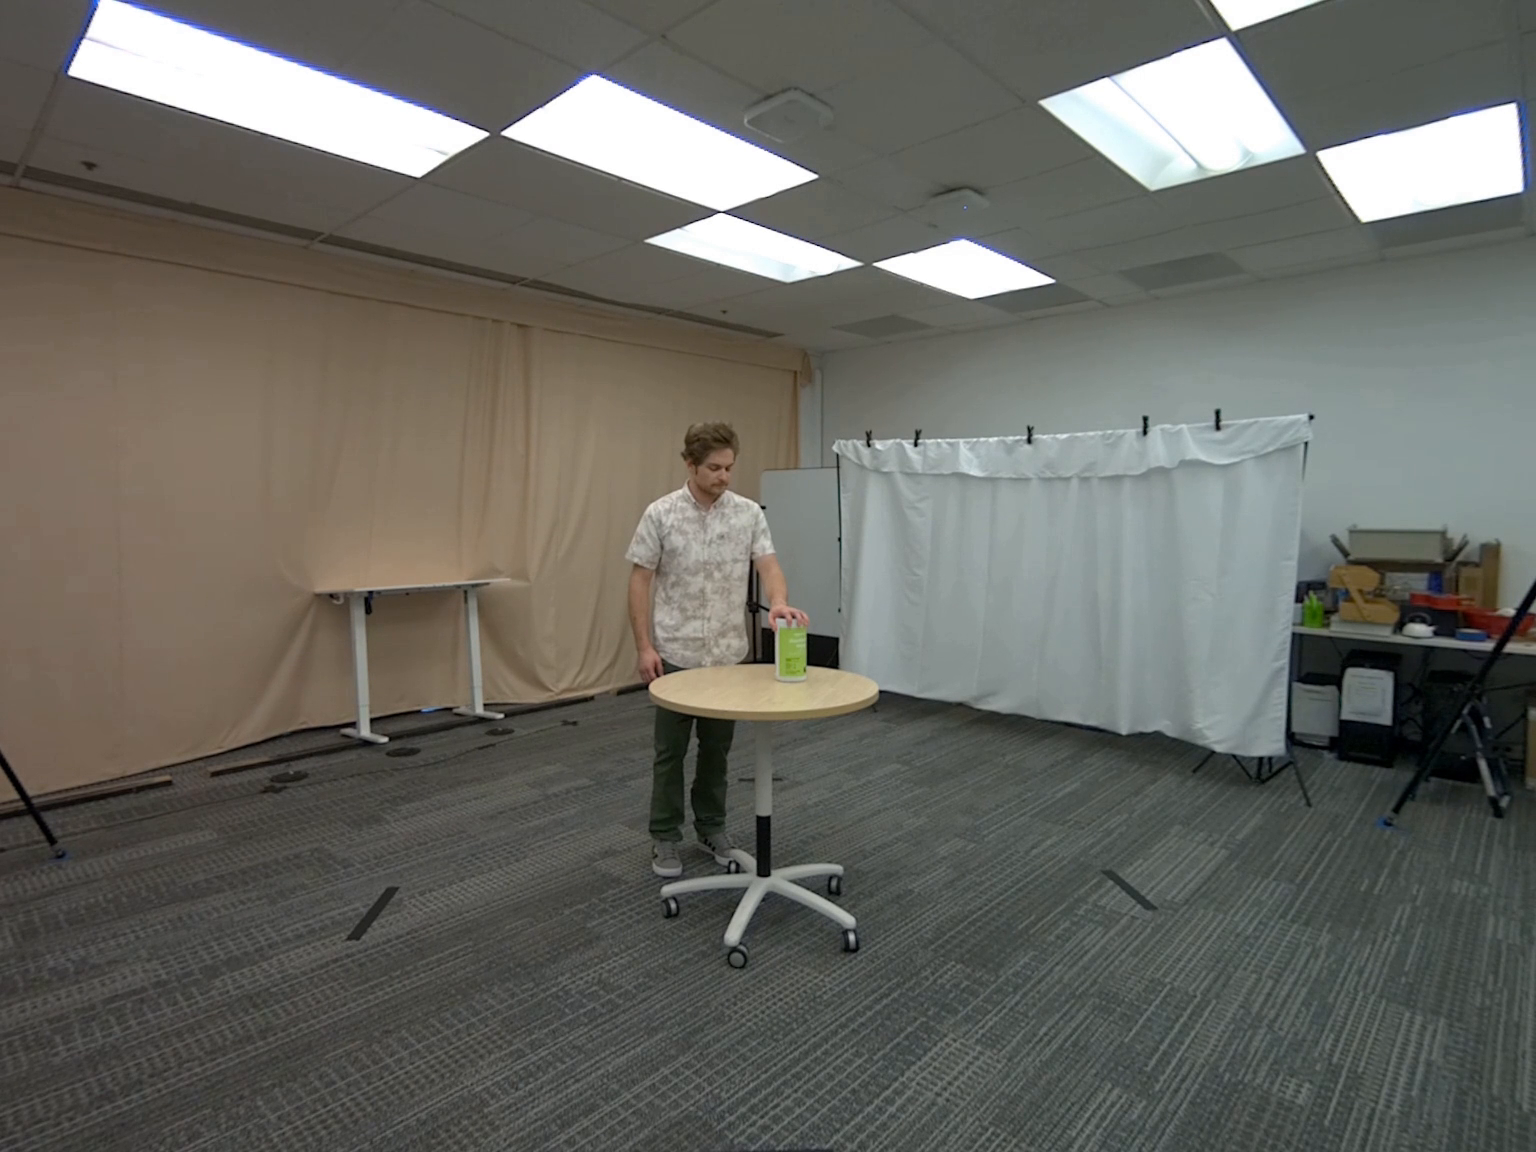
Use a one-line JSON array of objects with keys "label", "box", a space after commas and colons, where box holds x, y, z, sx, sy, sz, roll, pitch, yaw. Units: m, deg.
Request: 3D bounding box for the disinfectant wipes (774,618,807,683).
[{"label": "disinfectant wipes", "box": [0.080, 0.254, 2.907, 0.118, 0.217, 0.118, 2, 2, -2]}]
